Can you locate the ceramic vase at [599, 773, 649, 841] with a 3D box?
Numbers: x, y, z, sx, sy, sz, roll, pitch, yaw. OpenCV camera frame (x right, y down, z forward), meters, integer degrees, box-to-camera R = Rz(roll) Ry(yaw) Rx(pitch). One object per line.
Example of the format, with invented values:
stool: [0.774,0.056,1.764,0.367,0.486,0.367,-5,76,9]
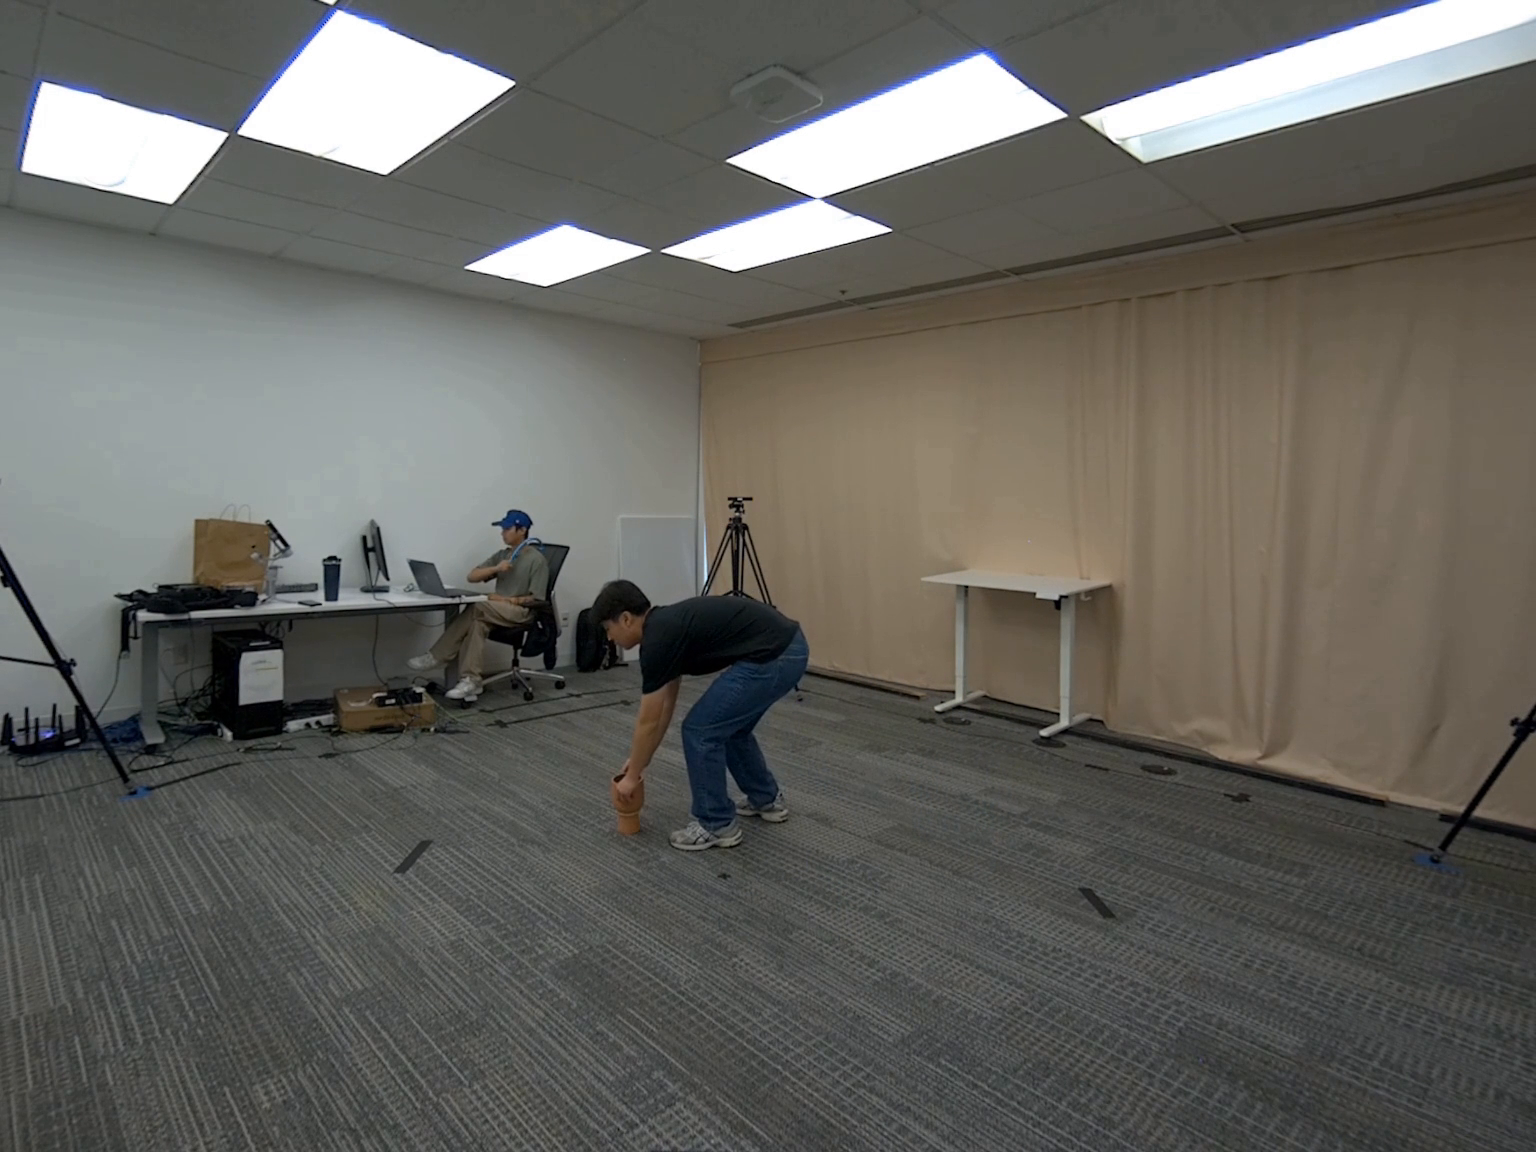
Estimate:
ceramic vase: [-0.599,0.954,3.511,0.159,0.218,0.135,-4,7,2]
